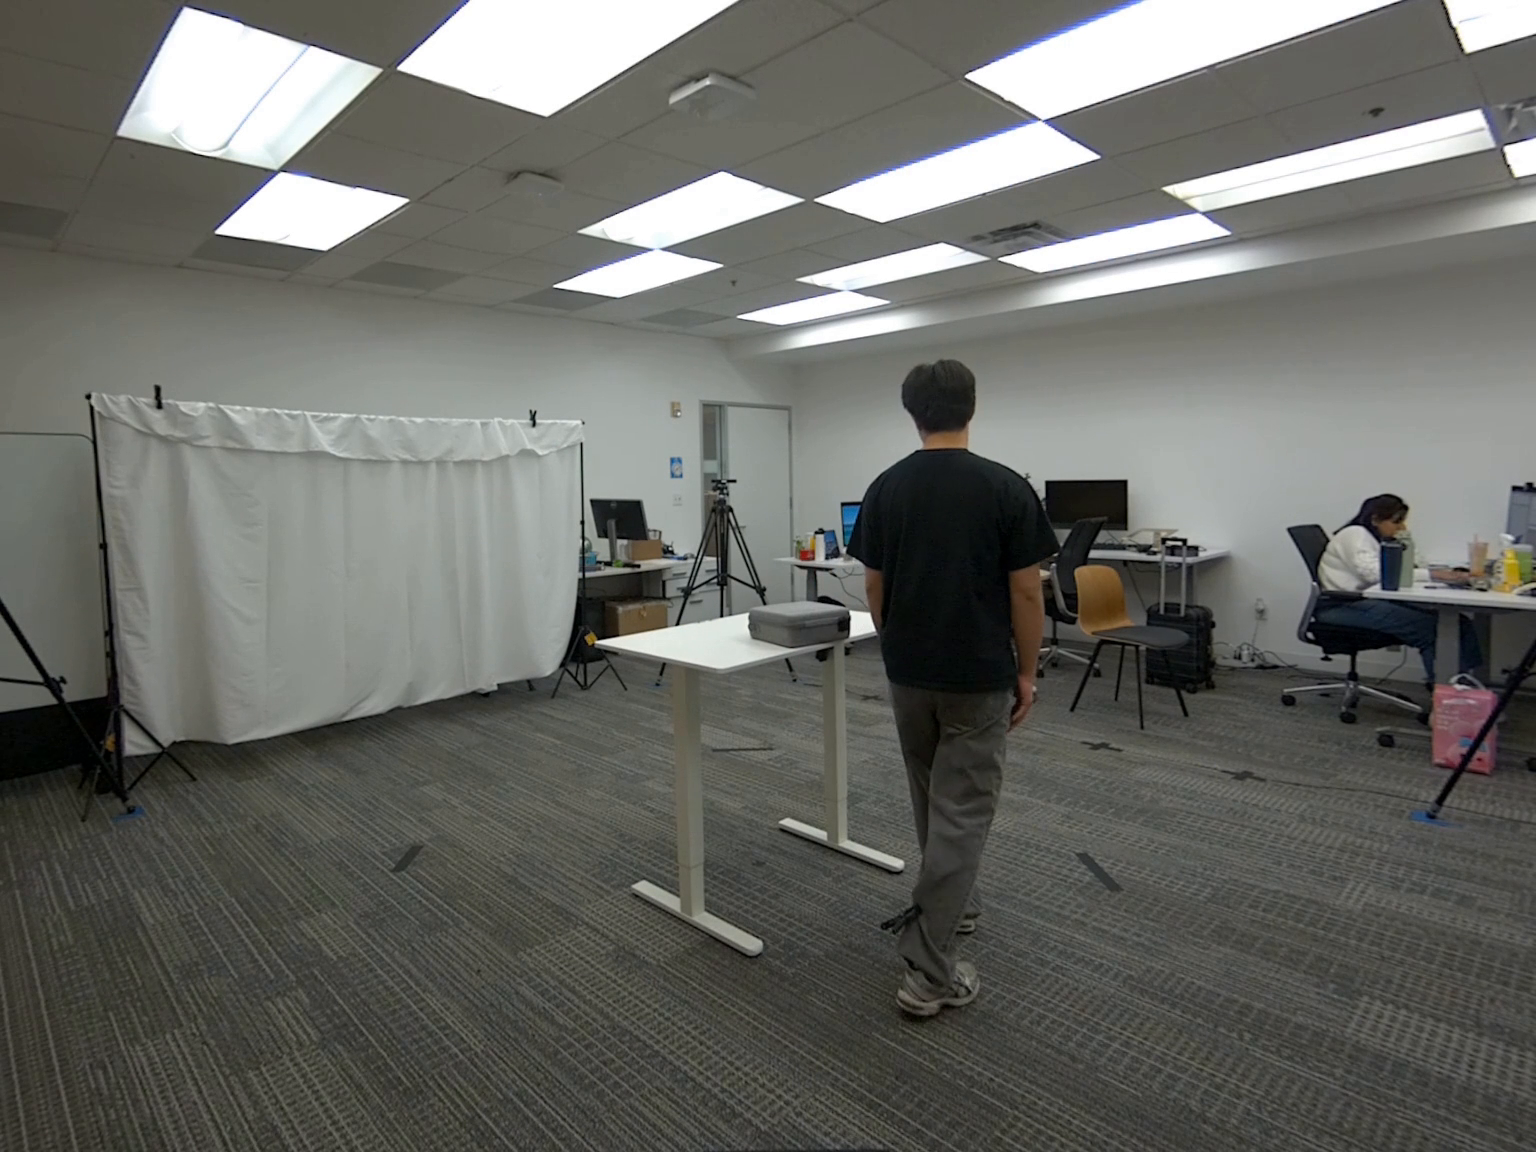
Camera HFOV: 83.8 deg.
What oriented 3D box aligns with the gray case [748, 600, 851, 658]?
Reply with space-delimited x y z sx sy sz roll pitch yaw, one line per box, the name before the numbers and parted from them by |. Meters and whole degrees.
gray case | 0.097 0.149 2.750 0.251 0.104 0.268 -6 7 -30
